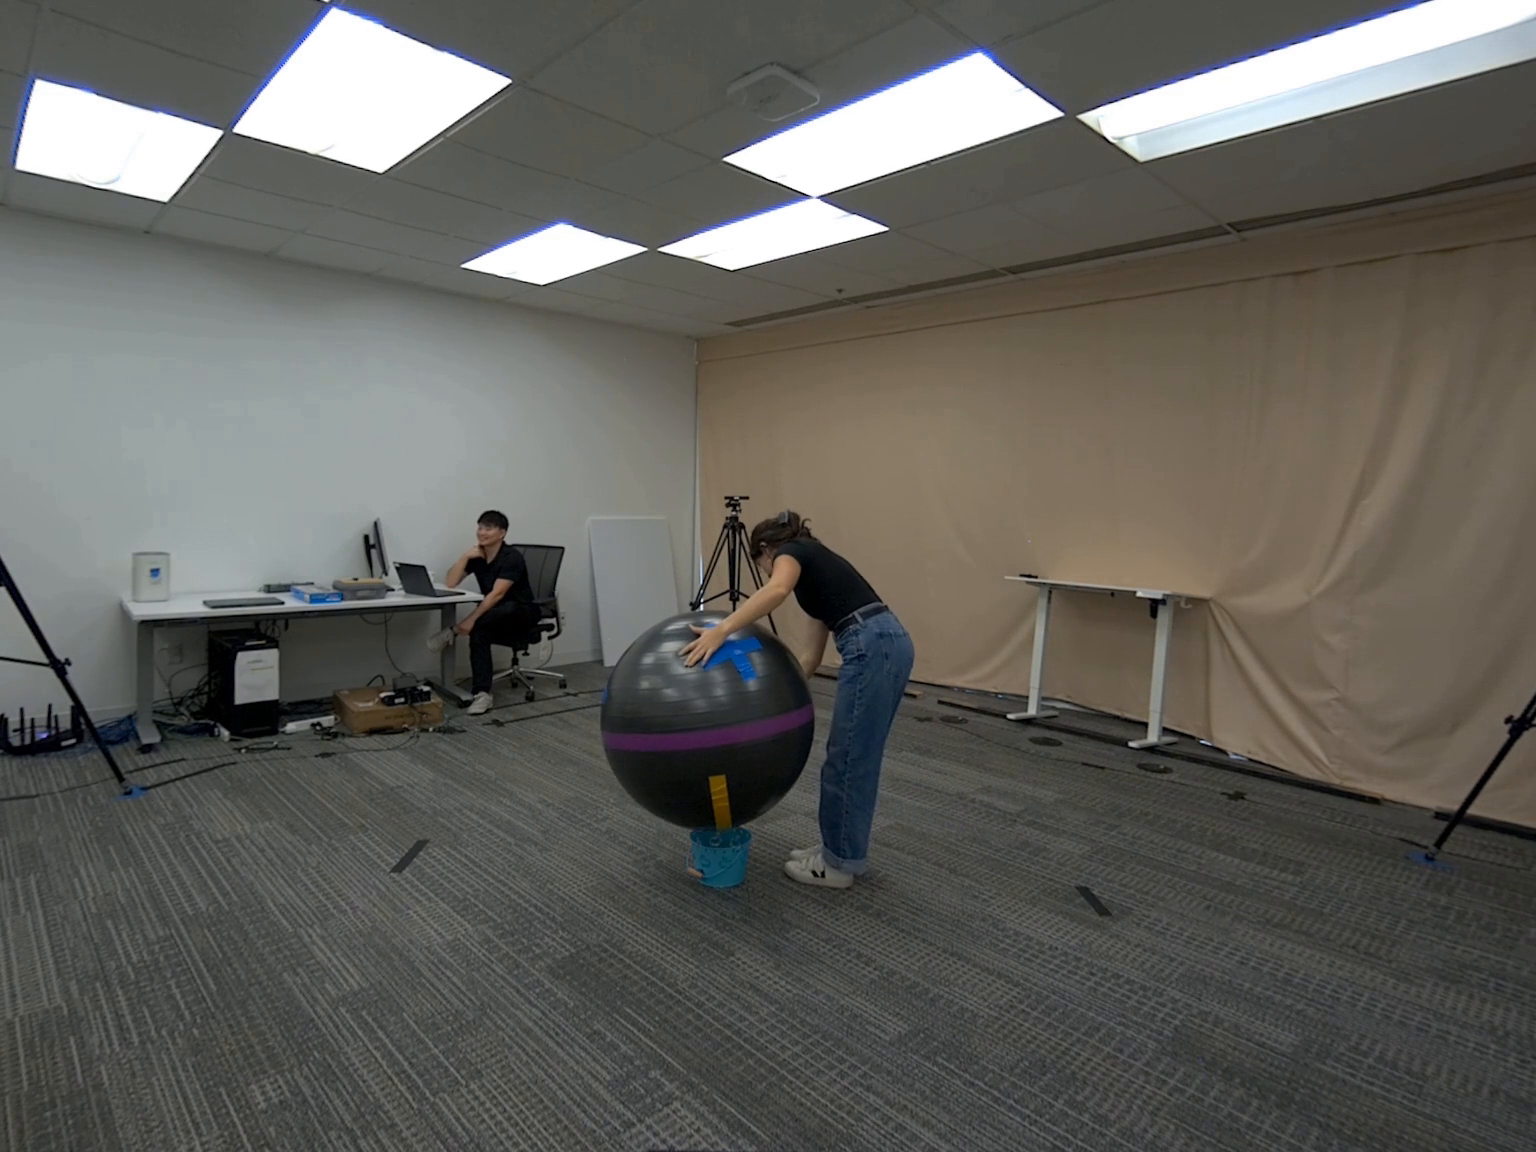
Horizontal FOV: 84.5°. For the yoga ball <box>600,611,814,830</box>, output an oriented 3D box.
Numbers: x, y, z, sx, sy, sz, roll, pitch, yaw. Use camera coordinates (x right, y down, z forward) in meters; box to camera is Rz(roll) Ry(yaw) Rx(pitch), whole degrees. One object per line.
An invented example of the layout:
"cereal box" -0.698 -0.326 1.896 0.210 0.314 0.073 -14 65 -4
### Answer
"yoga ball" -0.229 0.507 2.987 0.757 0.756 0.760 1 4 -1
